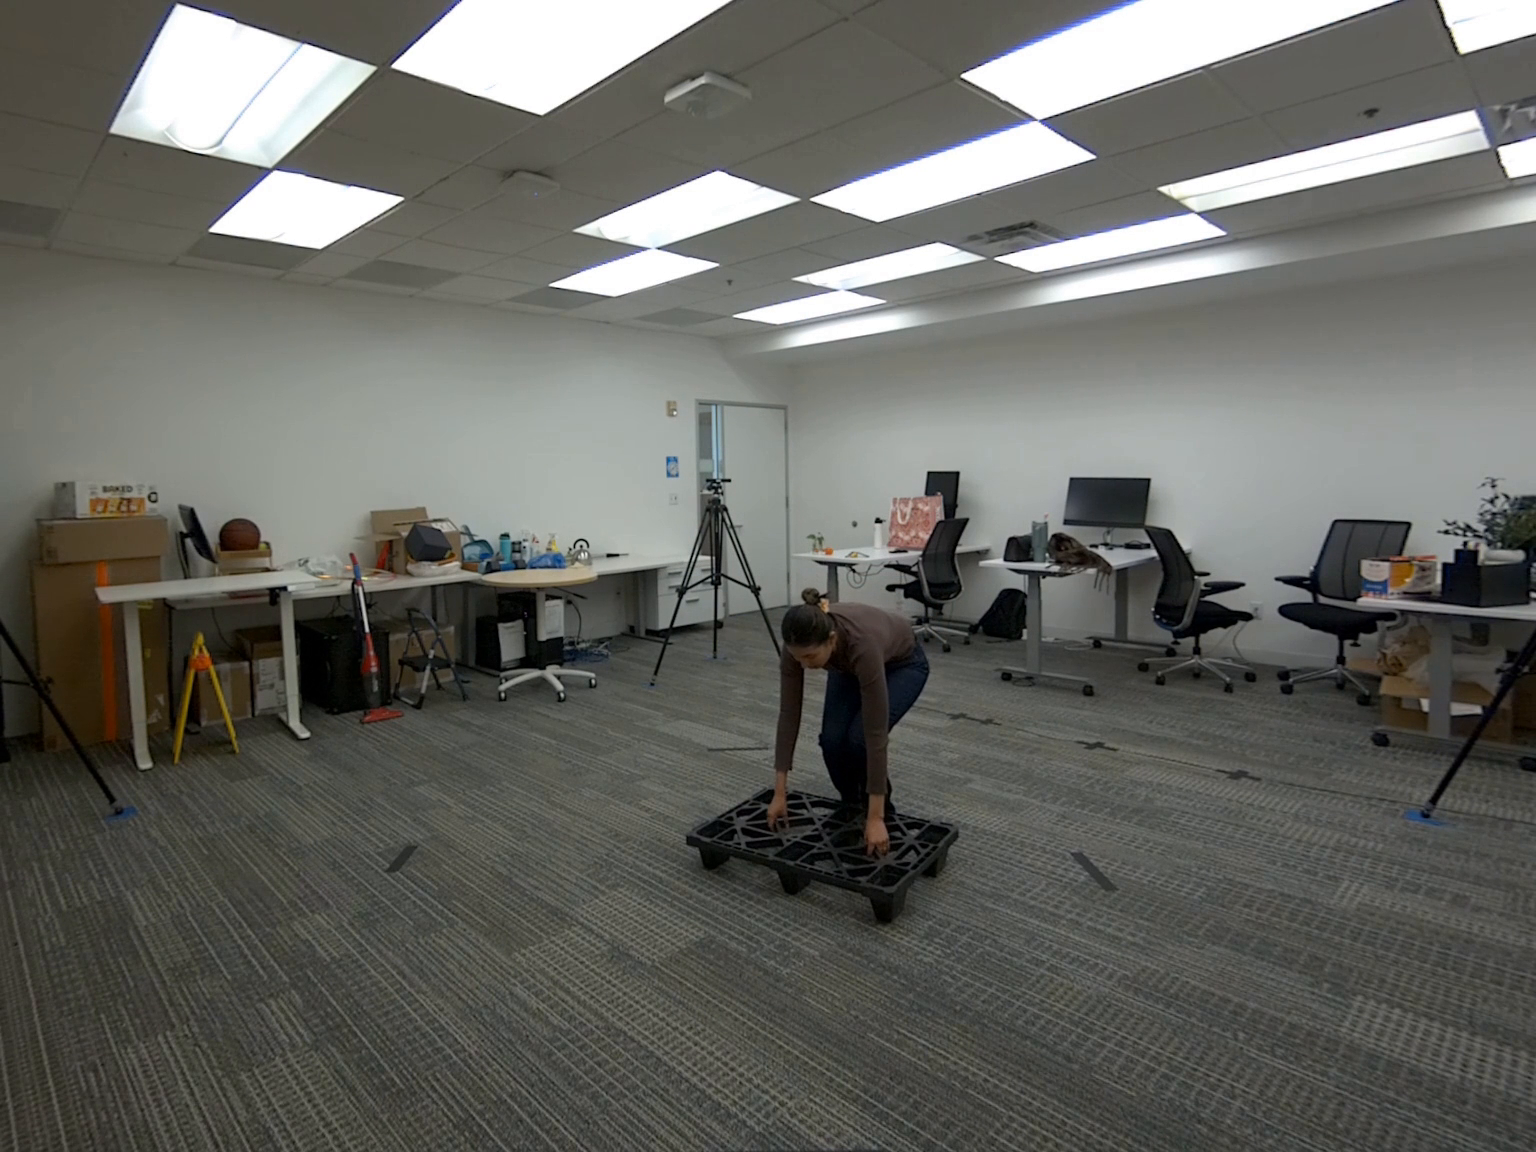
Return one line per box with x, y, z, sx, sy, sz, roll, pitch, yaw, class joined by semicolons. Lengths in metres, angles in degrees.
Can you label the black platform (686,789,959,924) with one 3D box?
0.199;0.975;3.059;0.828;0.142;0.591;3;8;34;black platform
